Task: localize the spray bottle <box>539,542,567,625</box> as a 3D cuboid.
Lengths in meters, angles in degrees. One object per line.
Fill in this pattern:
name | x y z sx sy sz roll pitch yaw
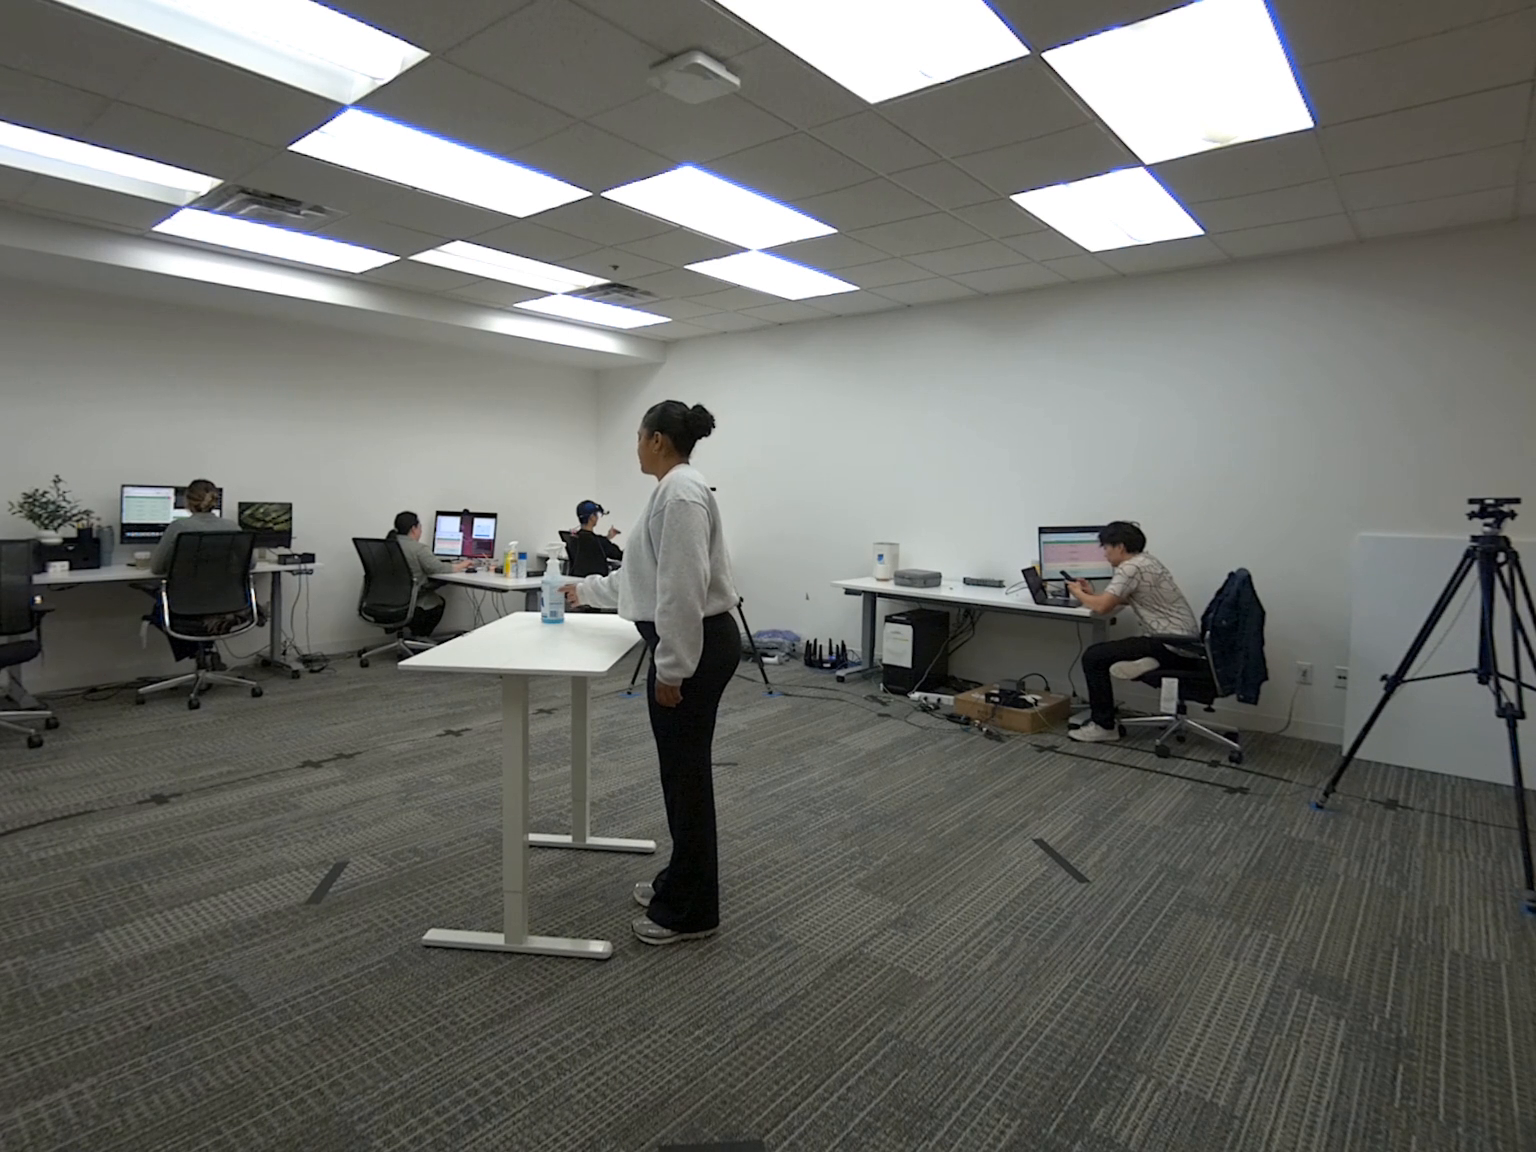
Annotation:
spray bottle | -0.810 0.024 3.149 0.093 0.296 0.084 6 7 43
